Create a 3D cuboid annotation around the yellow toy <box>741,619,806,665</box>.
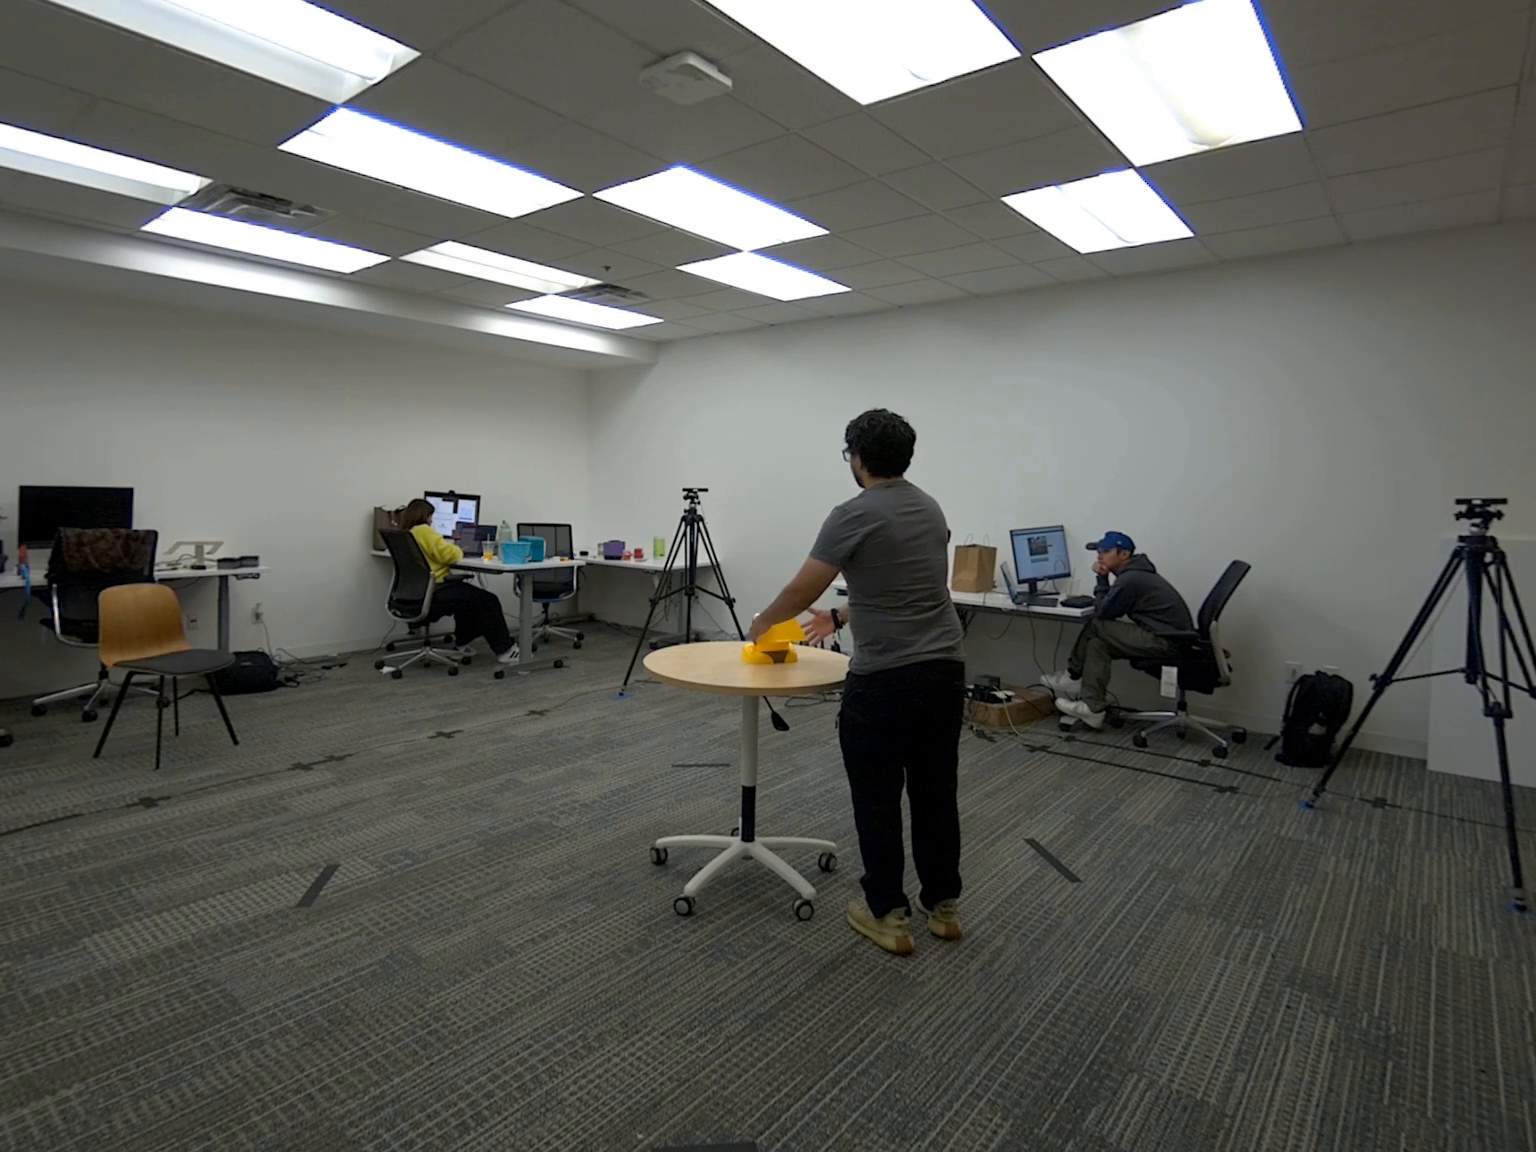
[{"bbox_3d":[-0.001,0.184,3.048,0.200,0.230,0.198,-1,5,-25],"label":"yellow toy"}]
